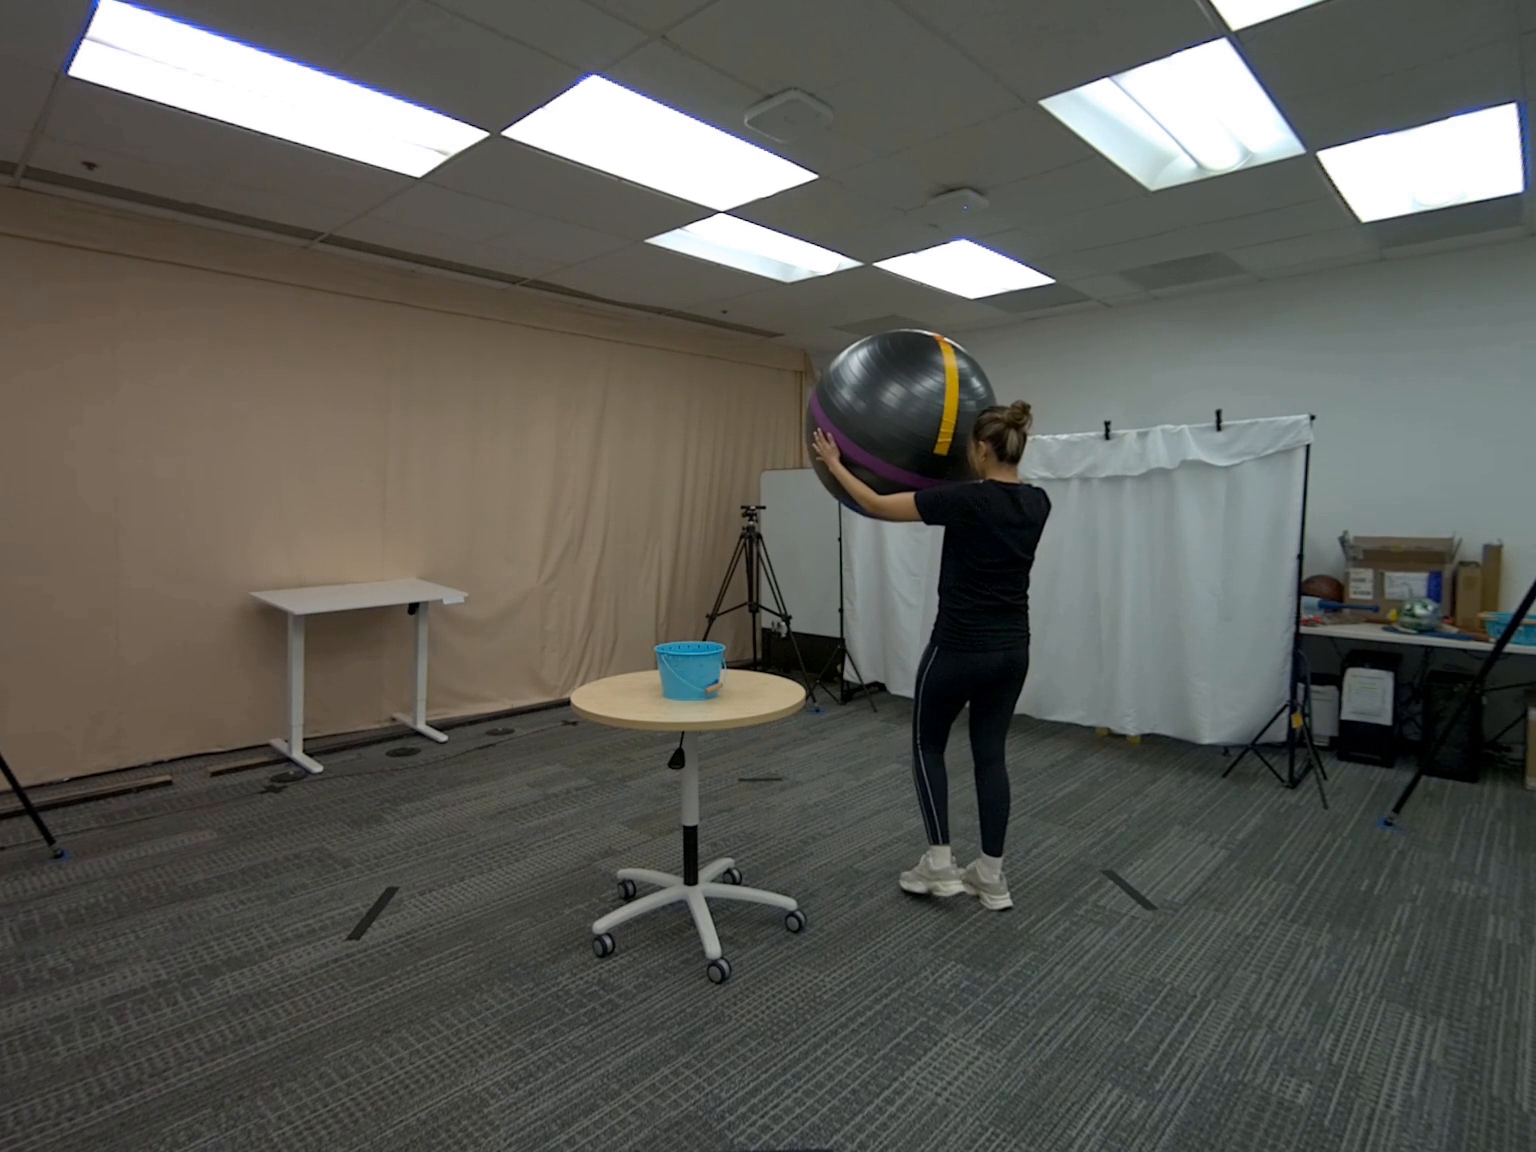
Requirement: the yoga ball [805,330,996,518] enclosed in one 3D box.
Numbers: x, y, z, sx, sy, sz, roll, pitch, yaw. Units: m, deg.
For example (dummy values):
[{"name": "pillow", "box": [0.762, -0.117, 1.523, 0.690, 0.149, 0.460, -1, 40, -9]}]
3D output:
[{"name": "yoga ball", "box": [0.537, -0.589, 3.366, 0.757, 0.756, 0.761, 0, 4, -2]}]
